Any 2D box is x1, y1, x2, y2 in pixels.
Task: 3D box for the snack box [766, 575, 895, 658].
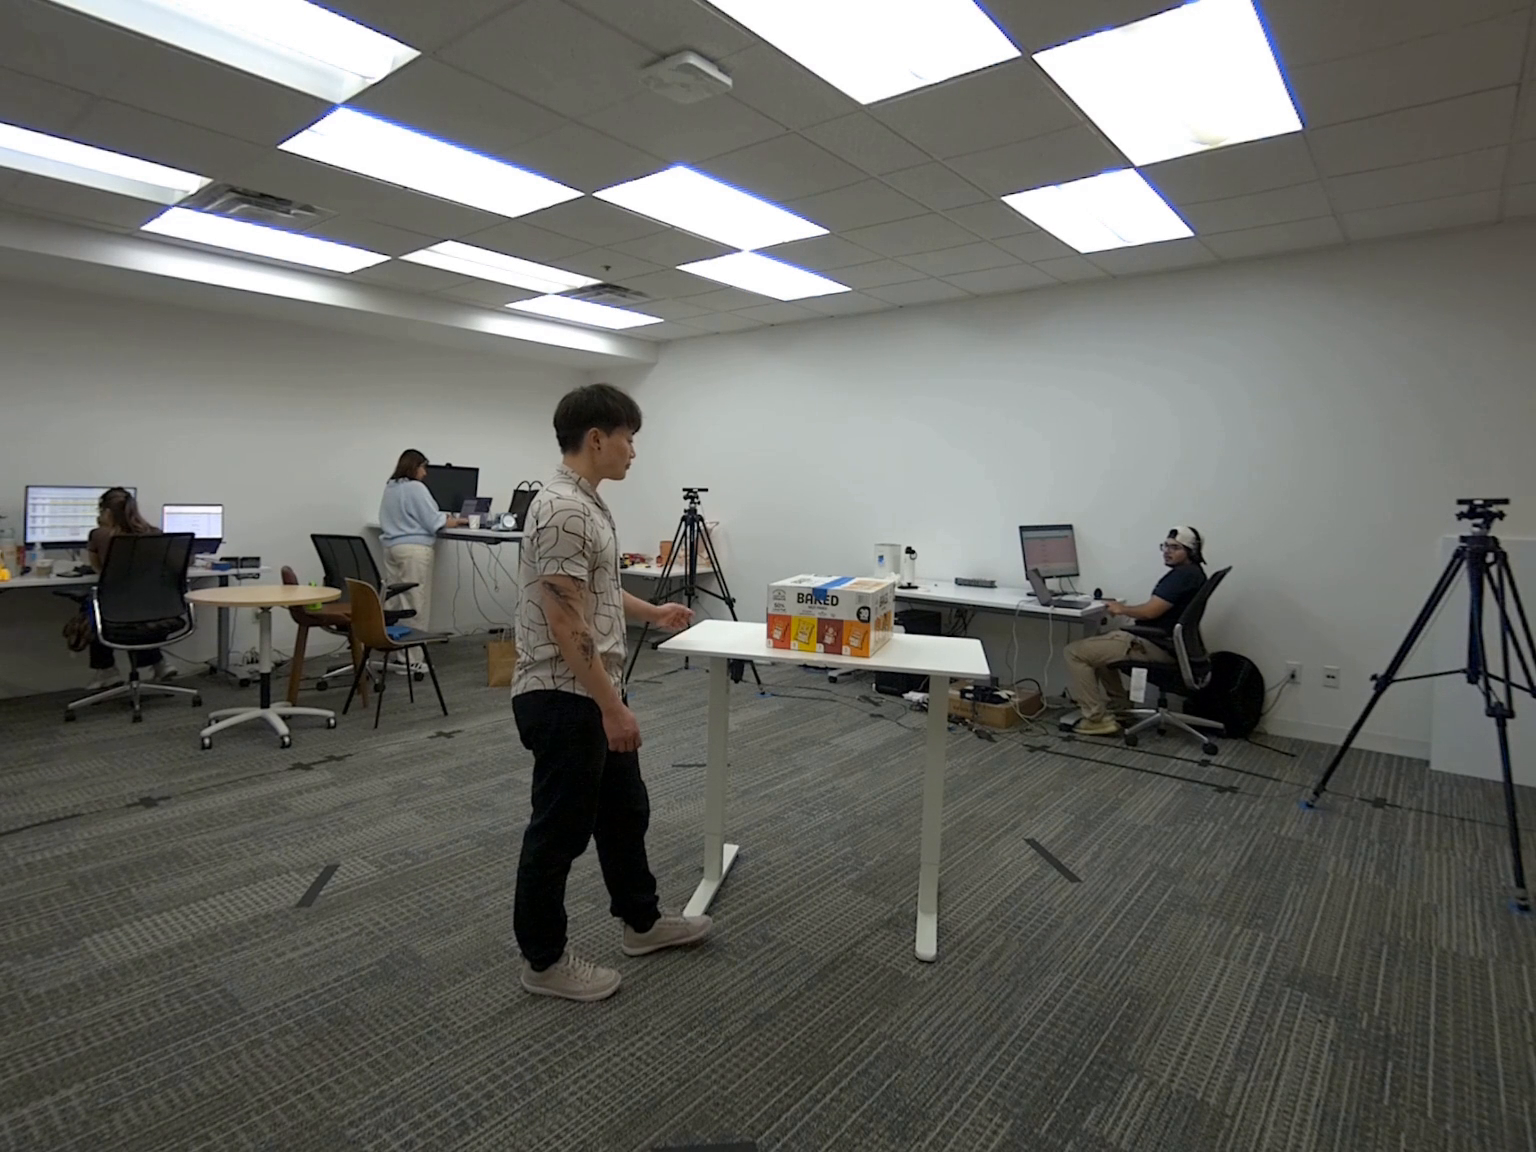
[{"bbox_3d":[0.210,0.120,2.846,0.348,0.205,0.398,4,6,20],"label":"snack box"}]
